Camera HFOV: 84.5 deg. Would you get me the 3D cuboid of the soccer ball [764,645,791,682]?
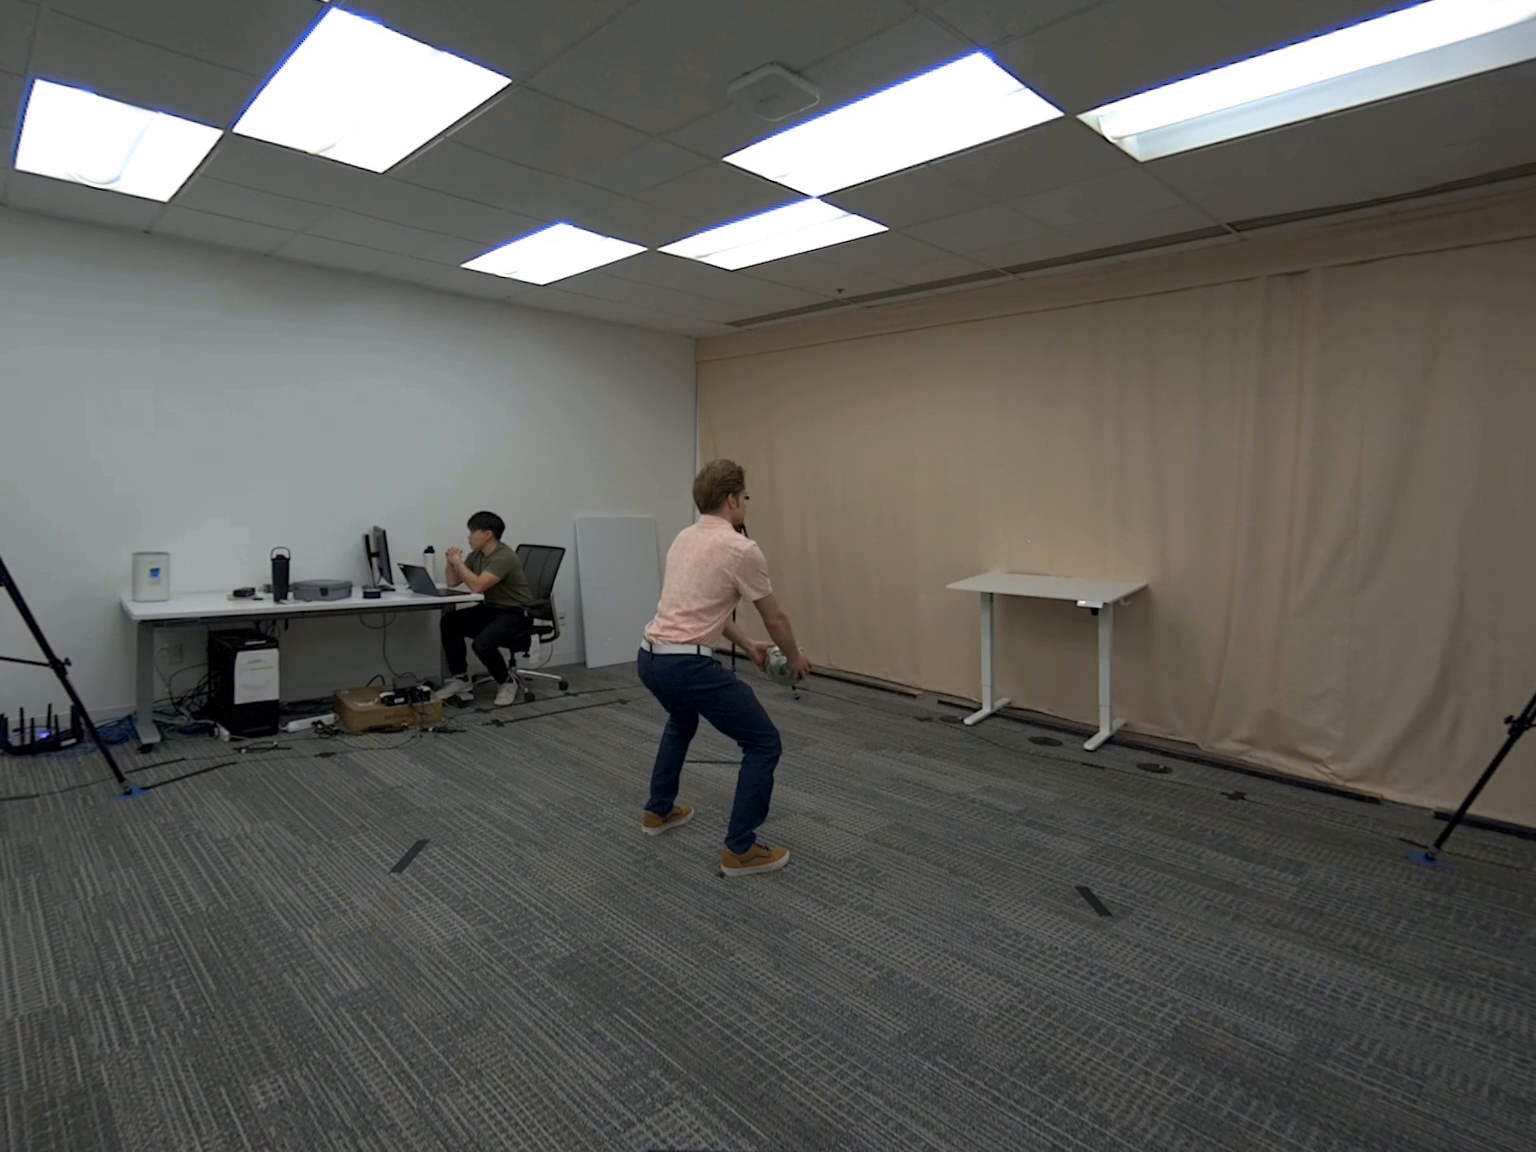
[{"bbox_3d":[0.069,0.394,3.607,0.187,0.187,0.188,1,4,-1],"label":"soccer ball"}]
